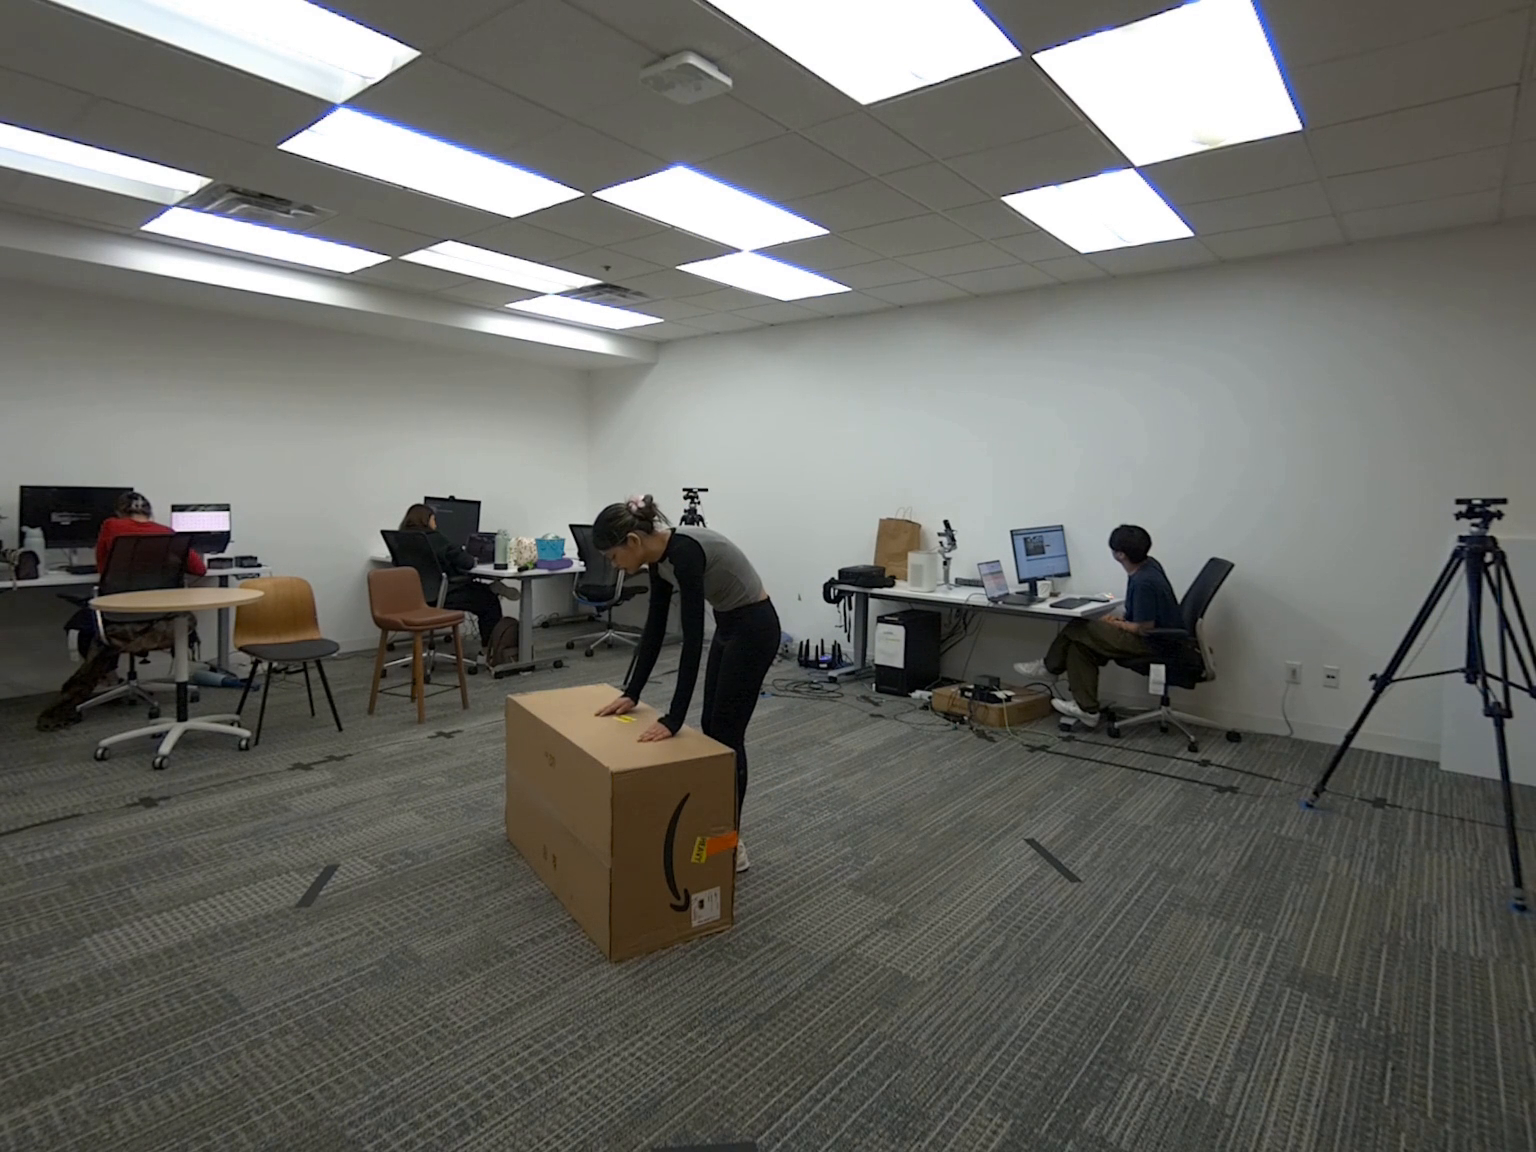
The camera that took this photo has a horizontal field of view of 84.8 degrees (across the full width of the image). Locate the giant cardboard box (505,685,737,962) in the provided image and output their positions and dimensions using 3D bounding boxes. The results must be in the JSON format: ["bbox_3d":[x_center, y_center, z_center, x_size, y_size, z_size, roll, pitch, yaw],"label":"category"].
[{"bbox_3d":[-0.574,0.786,2.999,0.414,0.575,1.059,-1,6,-32],"label":"giant cardboard box"}]
